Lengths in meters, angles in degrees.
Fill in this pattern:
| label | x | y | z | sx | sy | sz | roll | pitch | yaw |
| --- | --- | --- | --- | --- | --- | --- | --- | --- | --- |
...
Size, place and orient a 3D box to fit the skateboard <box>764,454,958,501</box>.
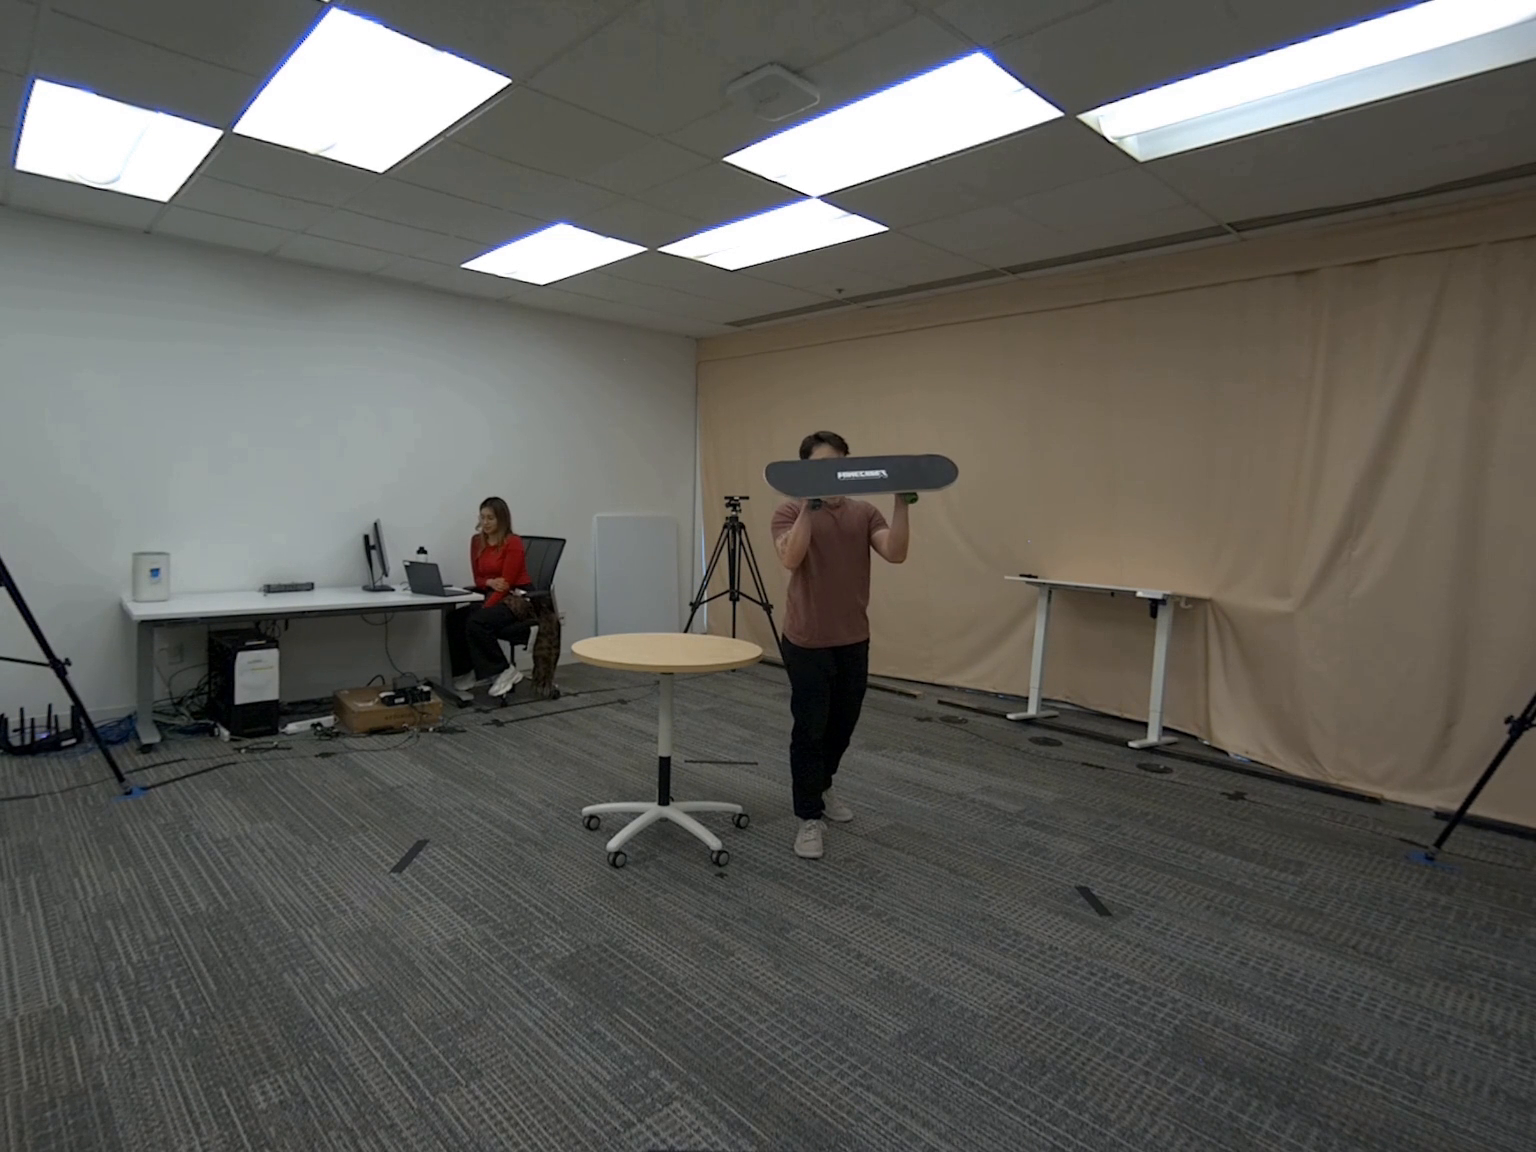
| label | x | y | z | sx | sy | sz | roll | pitch | yaw |
| --- | --- | --- | --- | --- | --- | --- | --- | --- | --- |
| skateboard | 0.344 | -0.354 | 3.221 | 0.777 | 0.198 | 0.109 | -5 | -35 | -15 |
